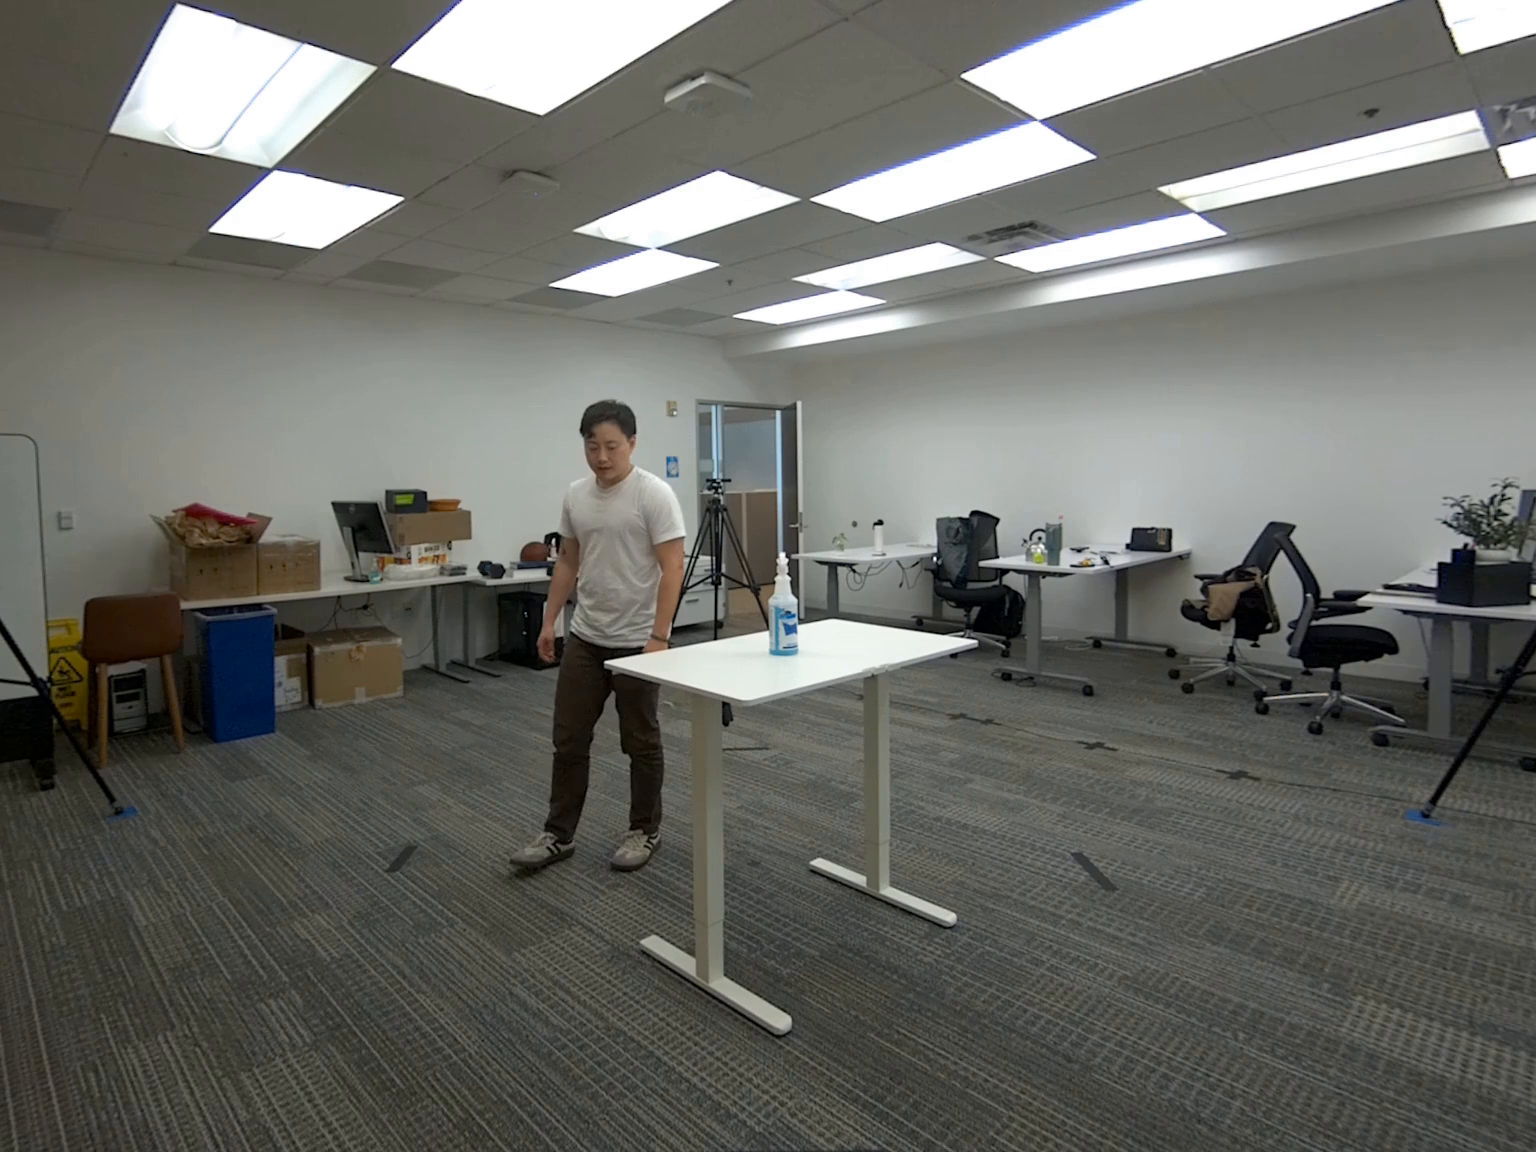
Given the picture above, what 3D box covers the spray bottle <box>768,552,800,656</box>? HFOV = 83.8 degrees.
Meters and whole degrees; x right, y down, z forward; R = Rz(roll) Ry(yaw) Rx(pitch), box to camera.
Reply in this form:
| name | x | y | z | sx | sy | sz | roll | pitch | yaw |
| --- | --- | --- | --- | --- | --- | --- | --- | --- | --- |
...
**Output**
| name | x | y | z | sx | sy | sz | roll | pitch | yaw |
| --- | --- | --- | --- | --- | --- | --- | --- | --- | --- |
| spray bottle | 0.049 | 0.085 | 2.523 | 0.089 | 0.297 | 0.088 | 0 | 2 | 26 |
